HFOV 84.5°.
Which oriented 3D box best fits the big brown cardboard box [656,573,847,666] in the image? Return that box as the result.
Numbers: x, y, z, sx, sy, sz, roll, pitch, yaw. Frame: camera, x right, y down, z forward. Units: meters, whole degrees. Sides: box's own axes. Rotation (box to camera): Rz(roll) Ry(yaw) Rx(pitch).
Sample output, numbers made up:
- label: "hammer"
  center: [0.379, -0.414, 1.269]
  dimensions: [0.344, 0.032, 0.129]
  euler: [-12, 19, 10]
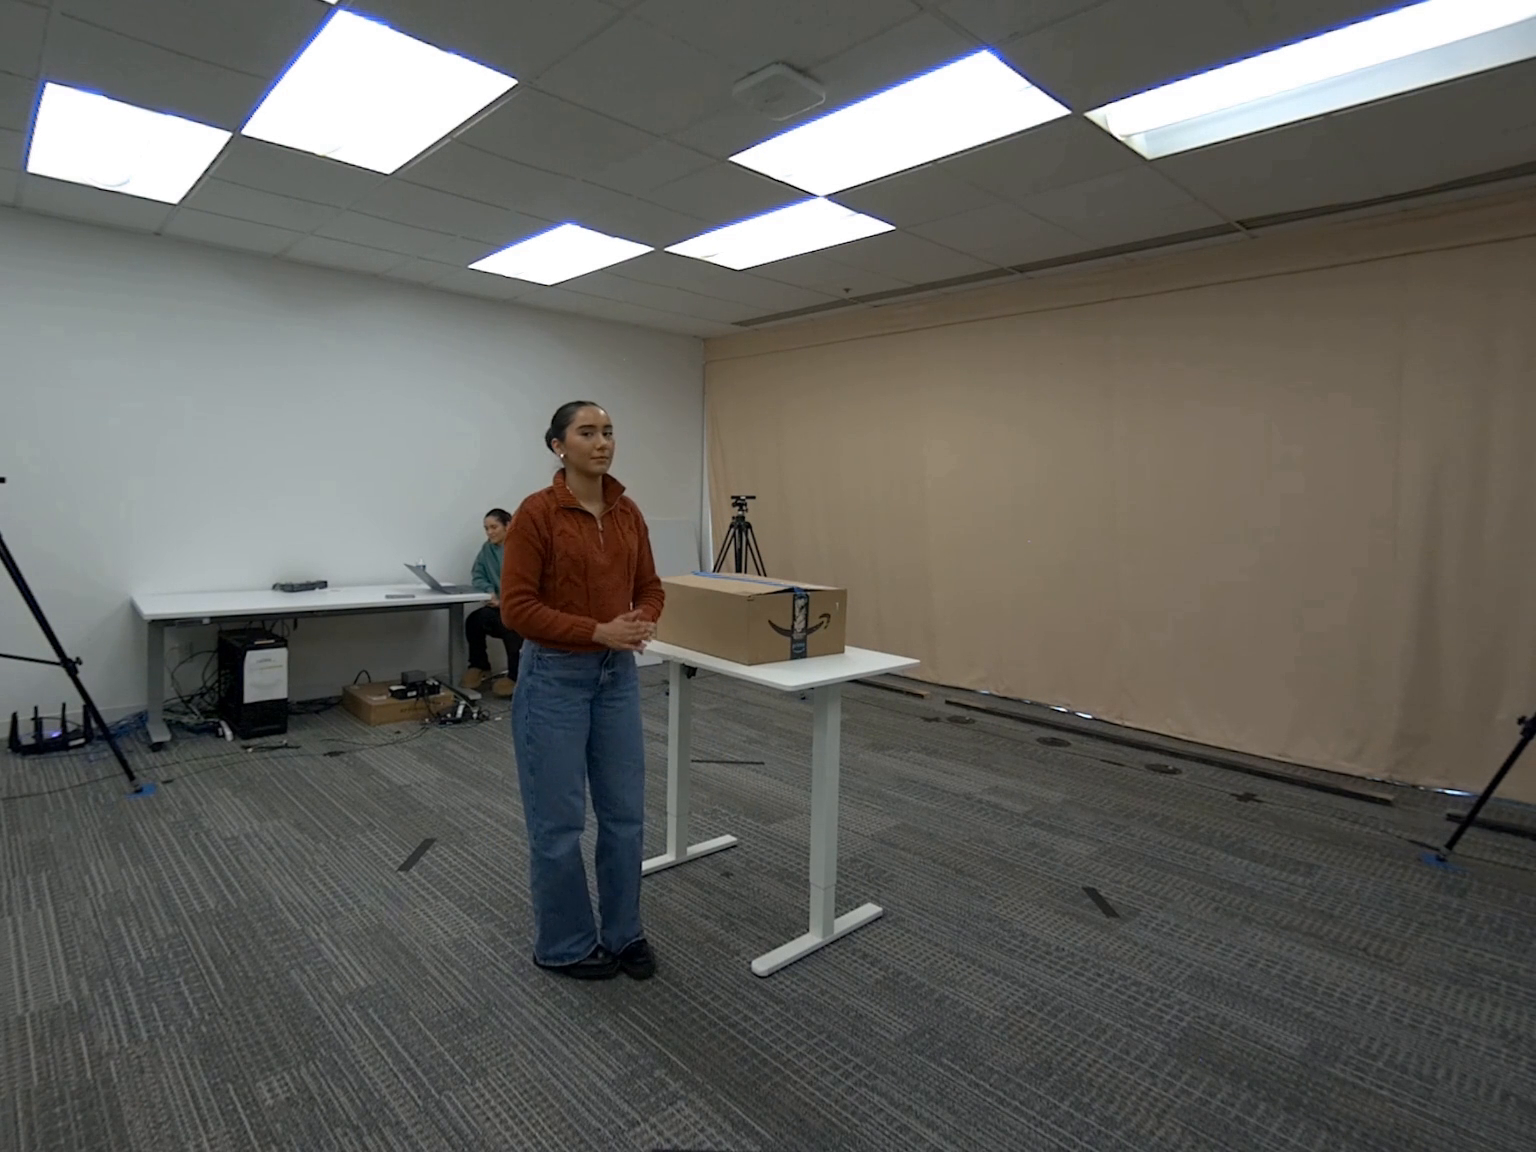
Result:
- label: "big brown cardboard box"
  center: [-0.083, 0.133, 2.891]
  dimensions: [0.408, 0.232, 0.603]
  euler: [-3, 6, -38]
